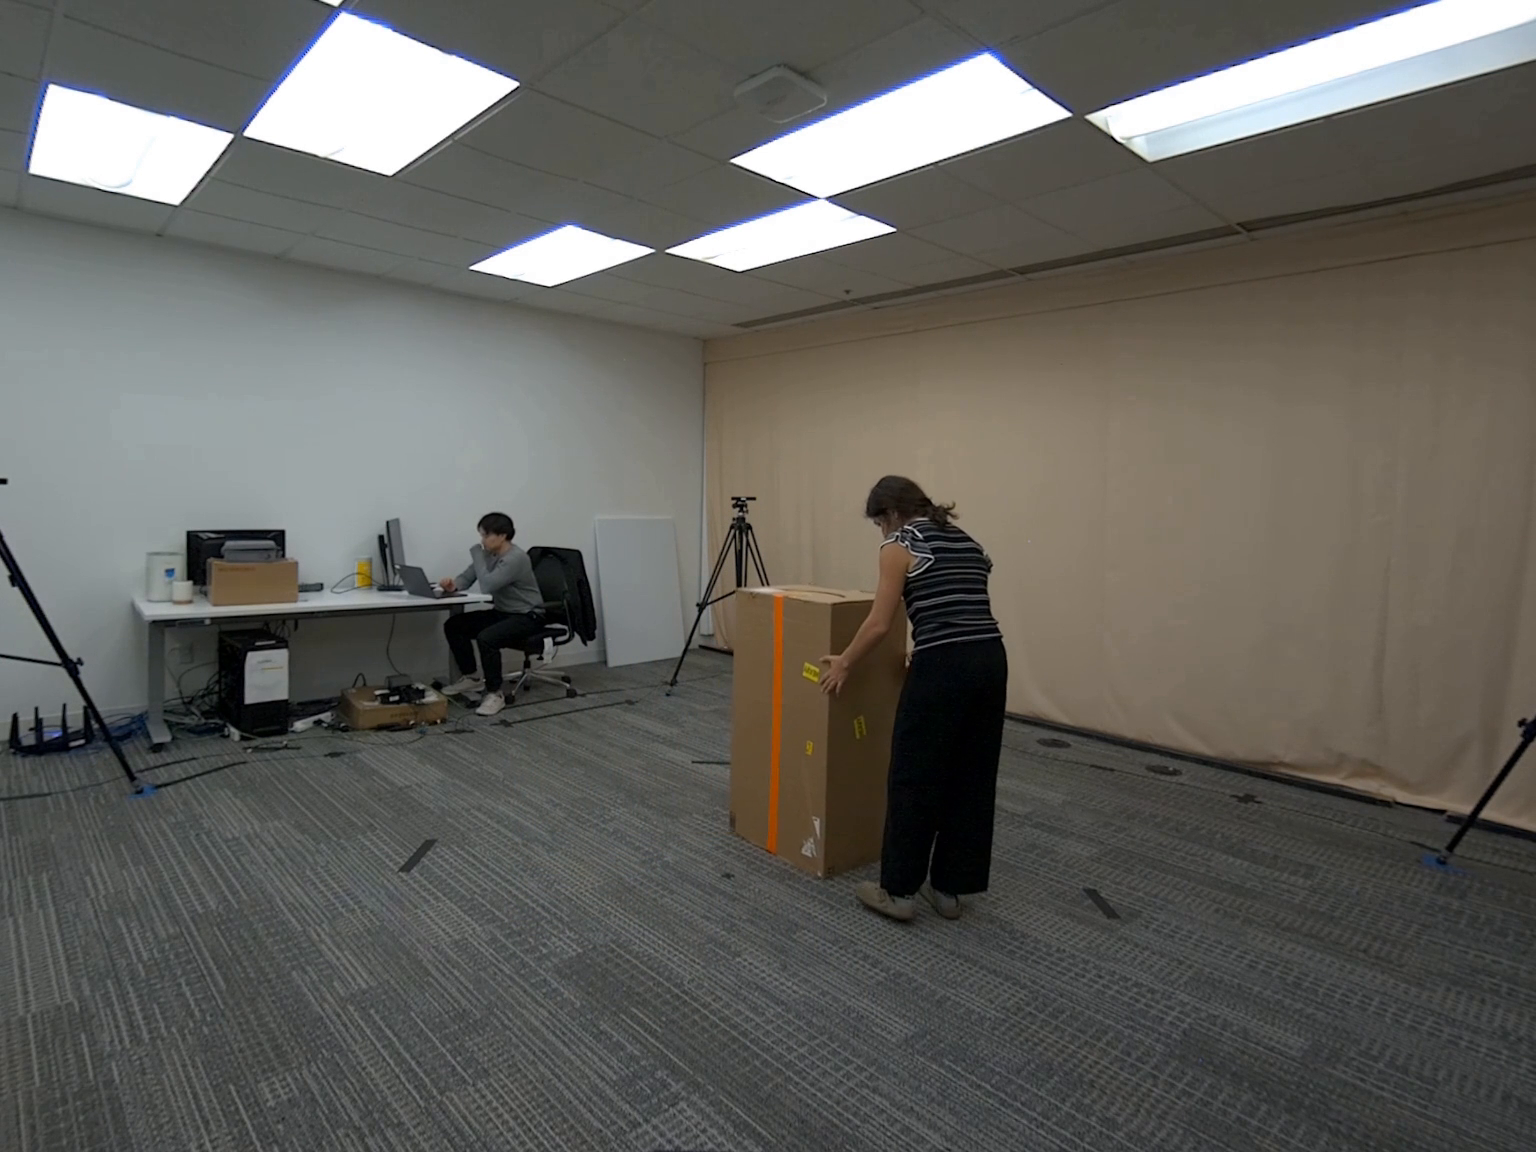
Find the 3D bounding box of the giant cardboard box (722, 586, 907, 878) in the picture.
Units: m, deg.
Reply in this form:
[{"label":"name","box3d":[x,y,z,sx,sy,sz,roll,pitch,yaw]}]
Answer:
[{"label":"giant cardboard box","box3d":[0.179,0.580,3.419,0.416,1.024,0.592,-1,4,-39]}]
